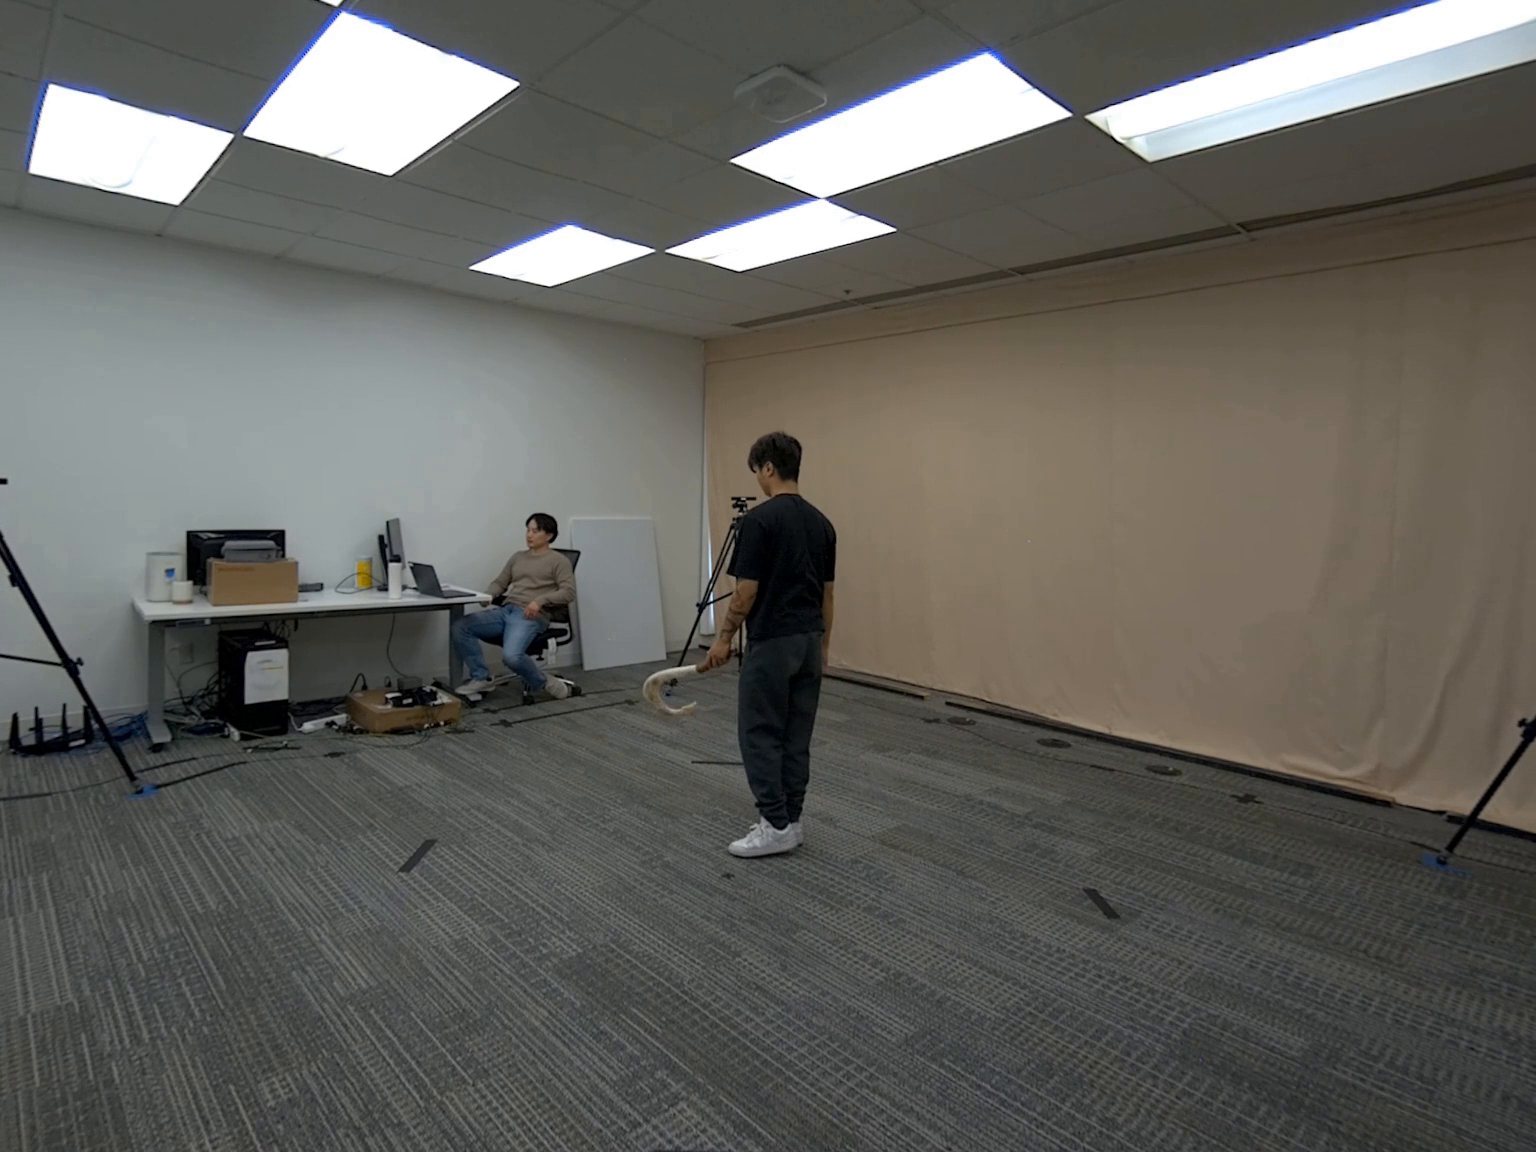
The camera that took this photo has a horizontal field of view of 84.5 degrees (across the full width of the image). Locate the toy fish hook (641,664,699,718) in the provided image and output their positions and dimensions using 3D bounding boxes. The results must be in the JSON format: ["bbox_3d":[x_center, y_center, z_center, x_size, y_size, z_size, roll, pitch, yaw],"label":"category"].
[{"bbox_3d":[-0.300,0.453,3.485,0.510,0.221,0.048,-29,15,26],"label":"toy fish hook"}]
